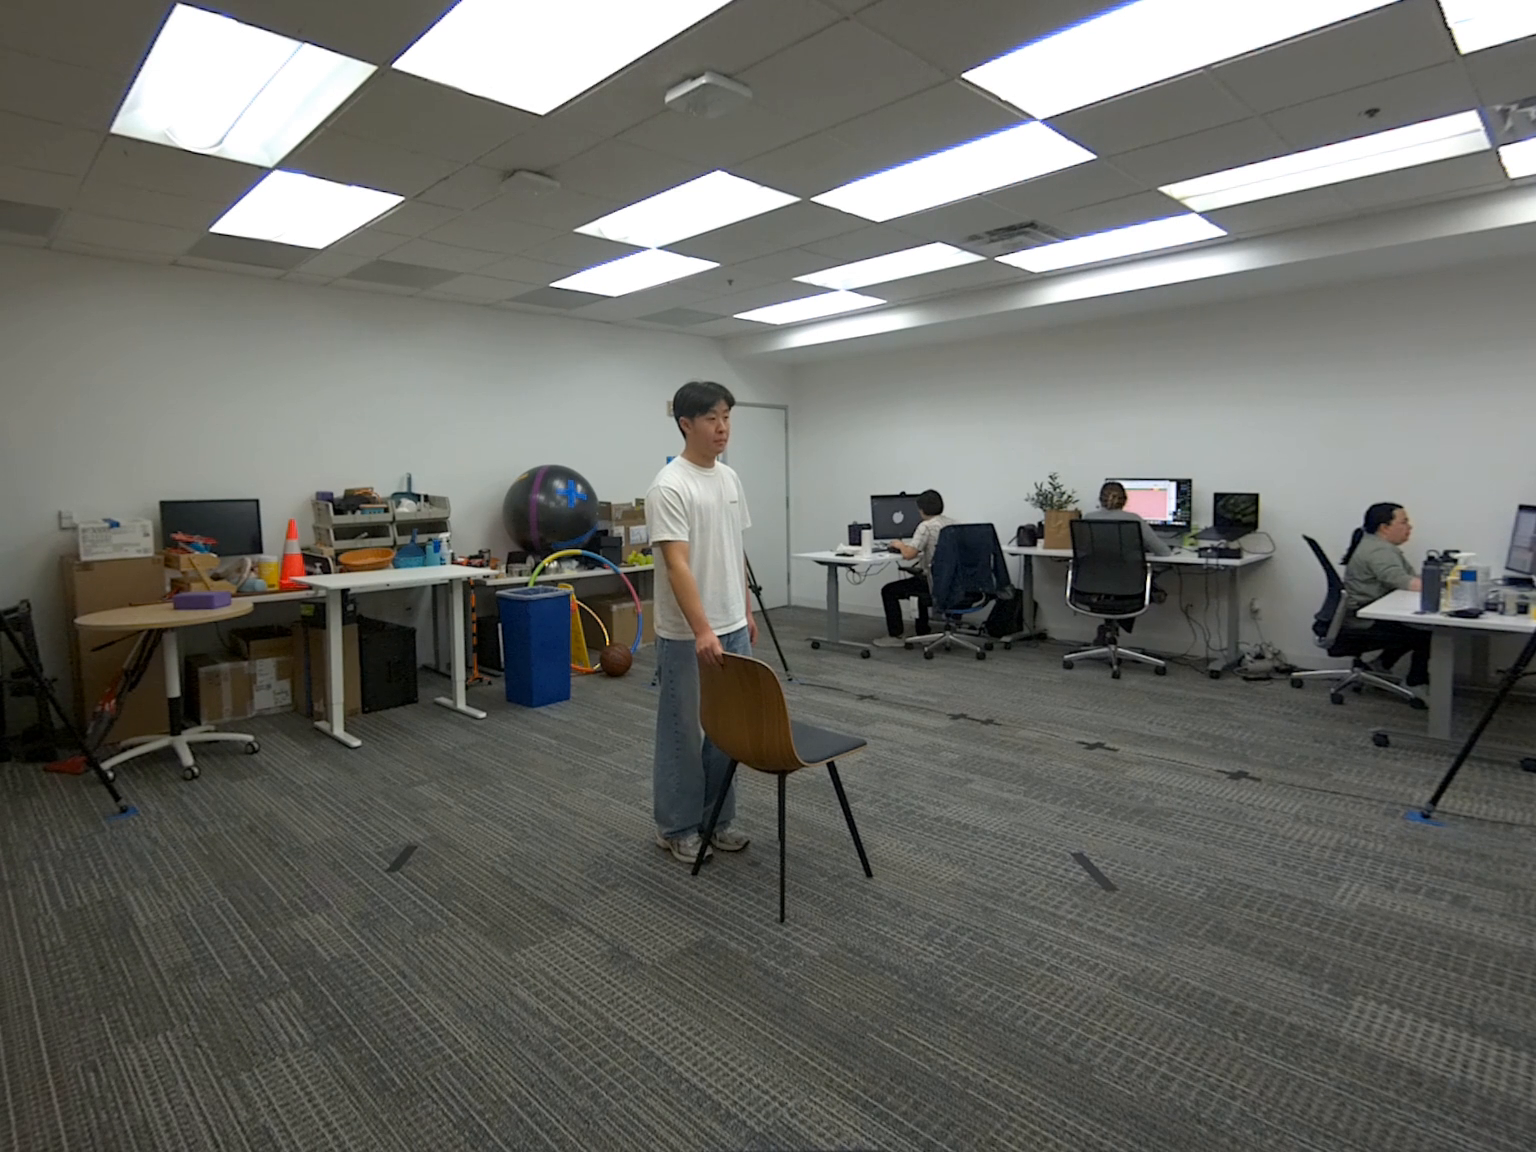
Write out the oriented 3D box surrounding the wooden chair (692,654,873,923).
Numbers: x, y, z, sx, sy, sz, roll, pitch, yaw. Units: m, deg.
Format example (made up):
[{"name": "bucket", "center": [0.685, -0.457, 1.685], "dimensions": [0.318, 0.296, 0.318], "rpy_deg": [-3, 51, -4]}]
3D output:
[{"name": "wooden chair", "center": [0.052, 0.631, 2.967], "dimensions": [0.511, 0.871, 0.493], "rpy_deg": [-11, 10, -42]}]
